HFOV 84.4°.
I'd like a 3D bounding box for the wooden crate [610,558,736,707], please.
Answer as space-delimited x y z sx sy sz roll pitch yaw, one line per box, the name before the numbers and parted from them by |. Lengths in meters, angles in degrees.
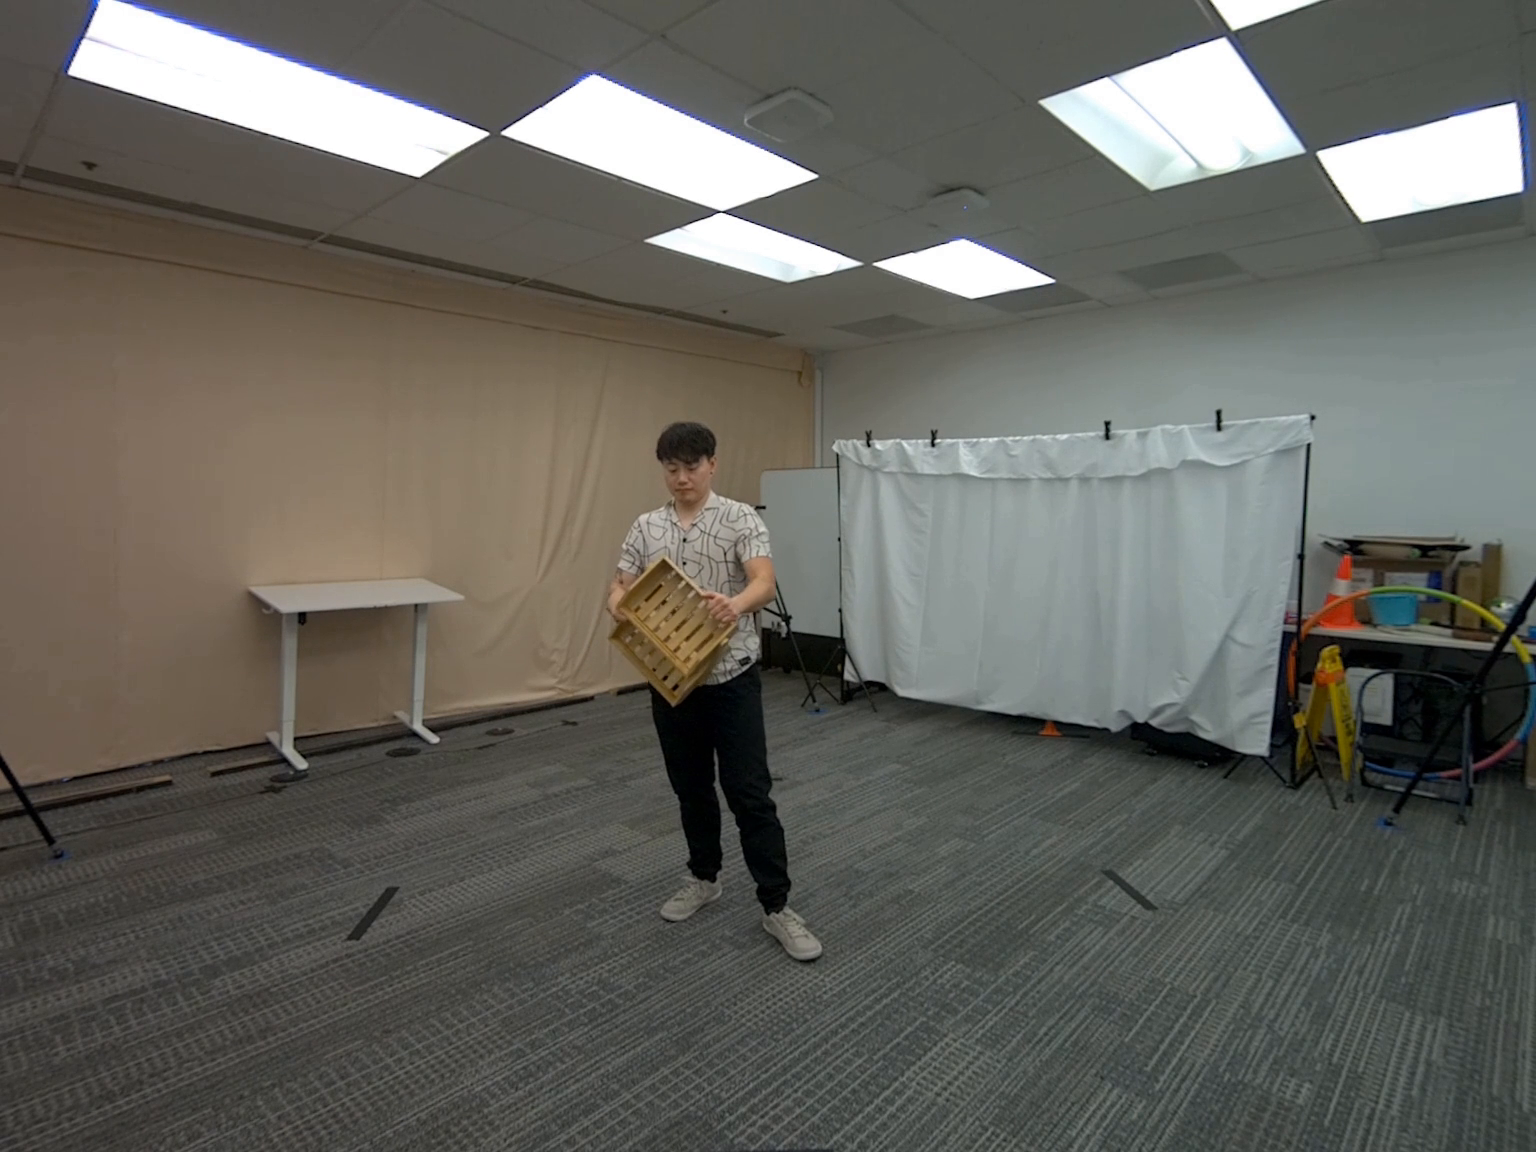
wooden crate | -0.294 0.170 2.517 0.330 0.301 0.269 42 -7 14
